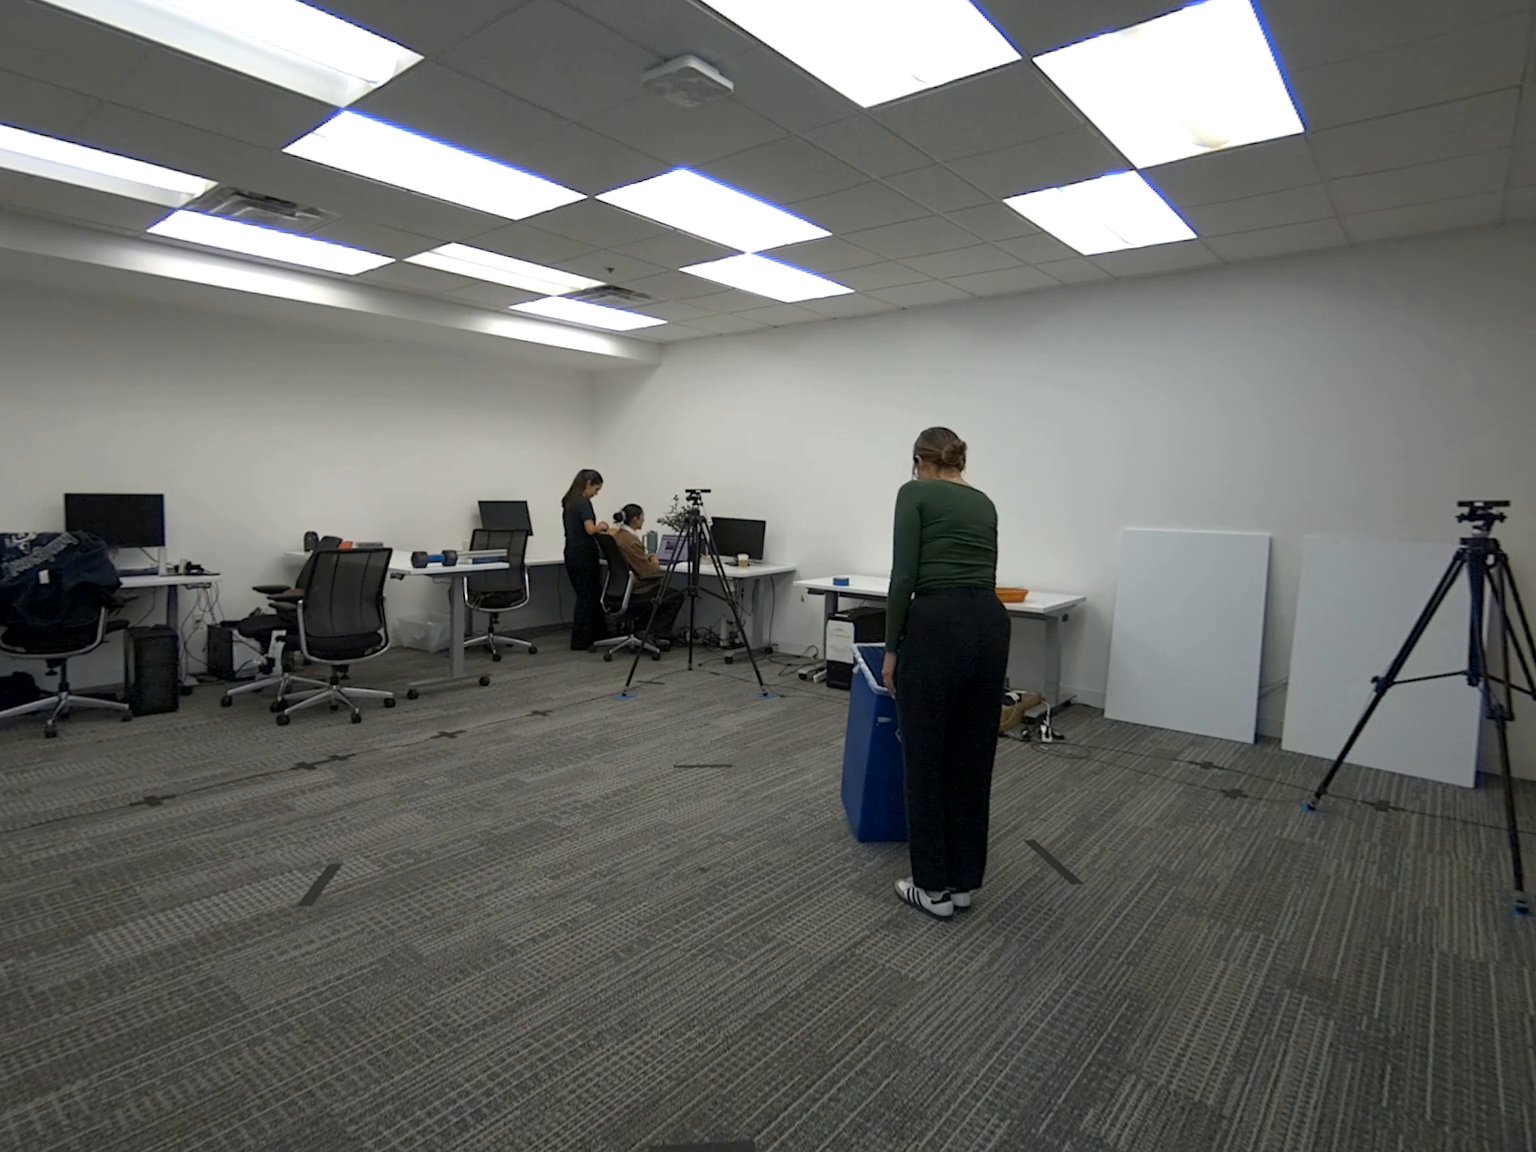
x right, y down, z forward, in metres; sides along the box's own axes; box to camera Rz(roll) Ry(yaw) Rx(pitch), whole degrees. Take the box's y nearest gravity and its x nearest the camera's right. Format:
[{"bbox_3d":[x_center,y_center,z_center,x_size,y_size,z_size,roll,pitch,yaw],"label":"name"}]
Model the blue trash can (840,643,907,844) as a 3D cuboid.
[{"bbox_3d":[0.498,0.672,3.434,0.374,0.701,0.384,1,21,-10],"label":"blue trash can"}]
